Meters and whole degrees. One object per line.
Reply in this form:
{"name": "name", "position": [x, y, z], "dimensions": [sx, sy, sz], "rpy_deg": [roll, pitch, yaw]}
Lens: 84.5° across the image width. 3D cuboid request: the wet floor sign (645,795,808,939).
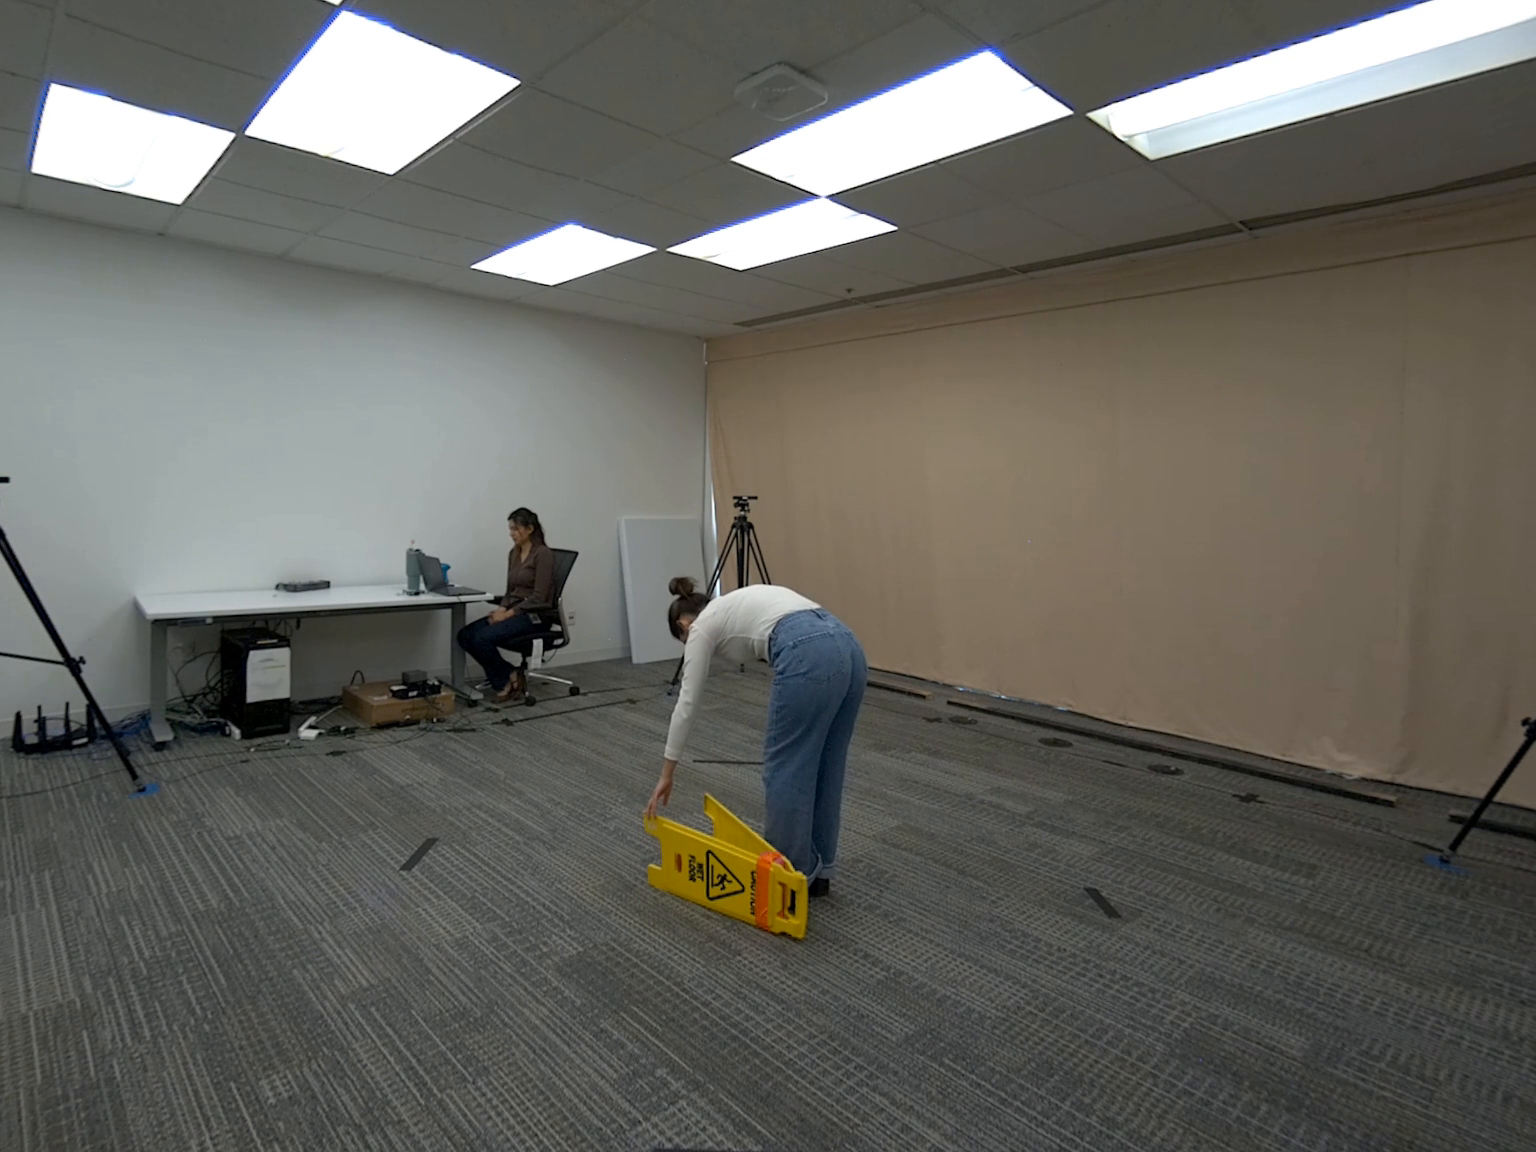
{"name": "wet floor sign", "position": [-0.115, 0.996, 2.848], "dimensions": [0.283, 0.281, 0.663], "rpy_deg": [-7, 10, -42]}
